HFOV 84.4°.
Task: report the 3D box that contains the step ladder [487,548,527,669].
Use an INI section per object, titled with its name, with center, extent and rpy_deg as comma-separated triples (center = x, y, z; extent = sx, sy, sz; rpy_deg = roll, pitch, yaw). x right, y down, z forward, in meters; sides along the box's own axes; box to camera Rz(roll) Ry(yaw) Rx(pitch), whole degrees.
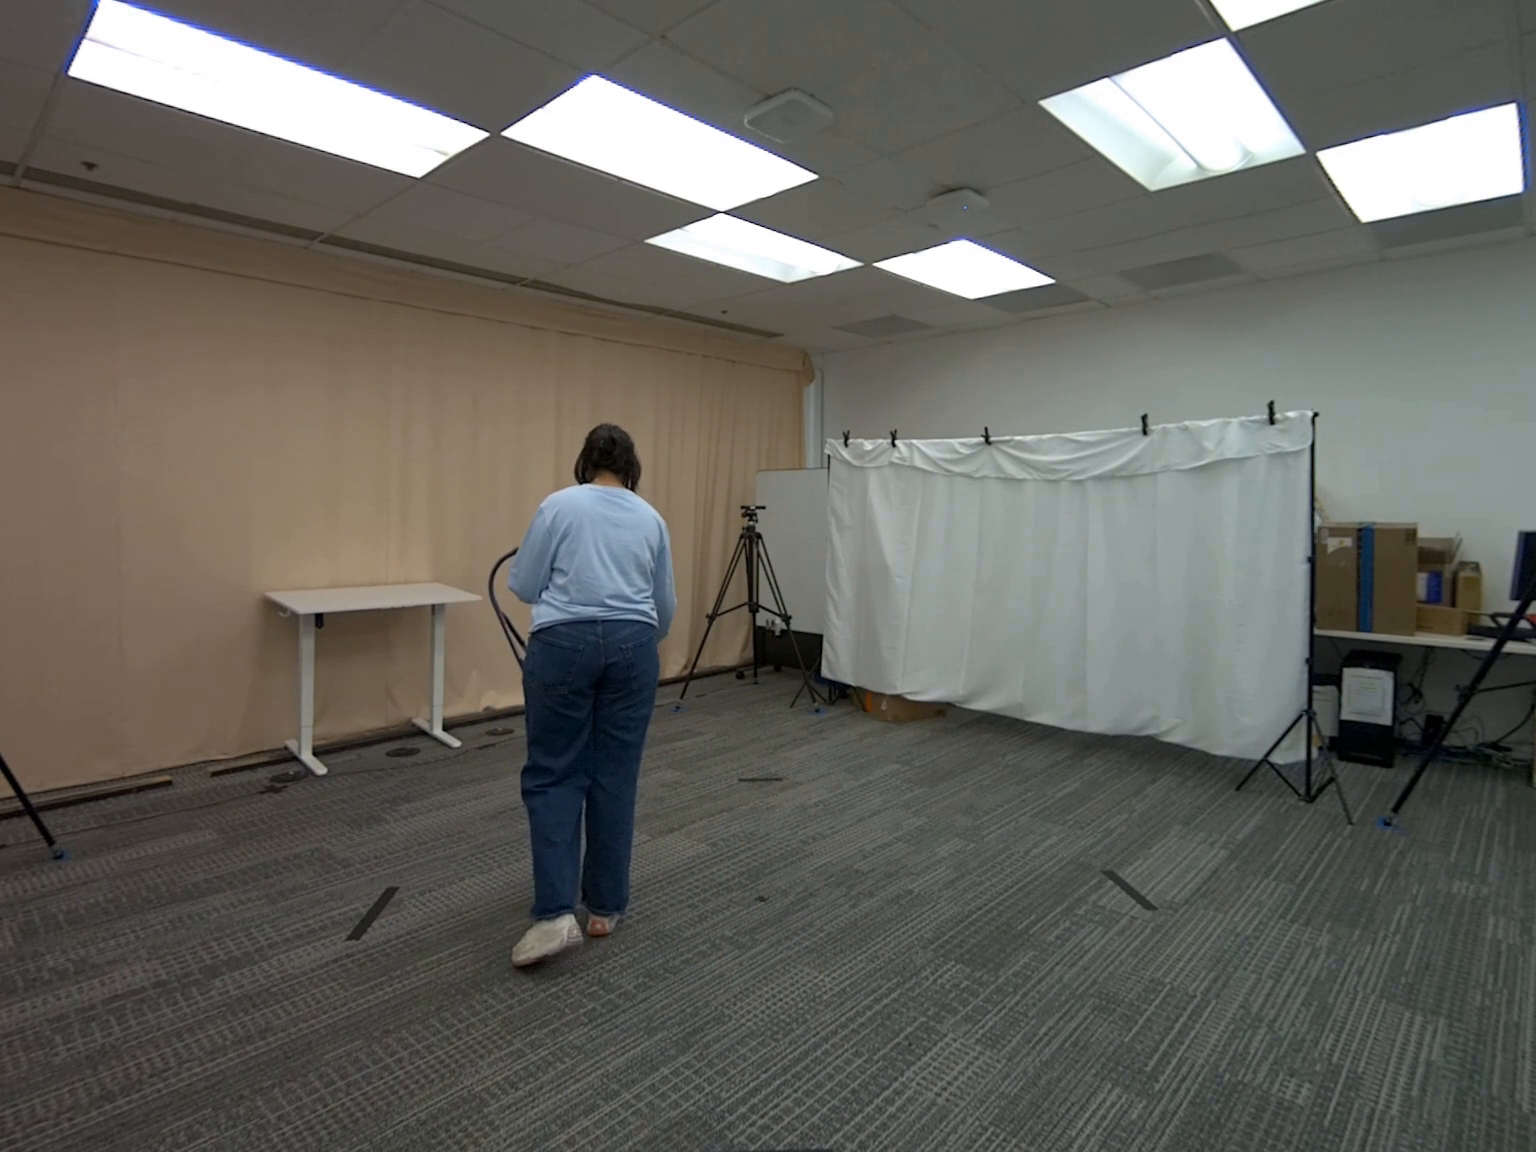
[step ladder]
center = -0.738, 0.164, 3.029
extent = 0.430, 0.595, 0.356
rpy_deg = -25, 20, -3
